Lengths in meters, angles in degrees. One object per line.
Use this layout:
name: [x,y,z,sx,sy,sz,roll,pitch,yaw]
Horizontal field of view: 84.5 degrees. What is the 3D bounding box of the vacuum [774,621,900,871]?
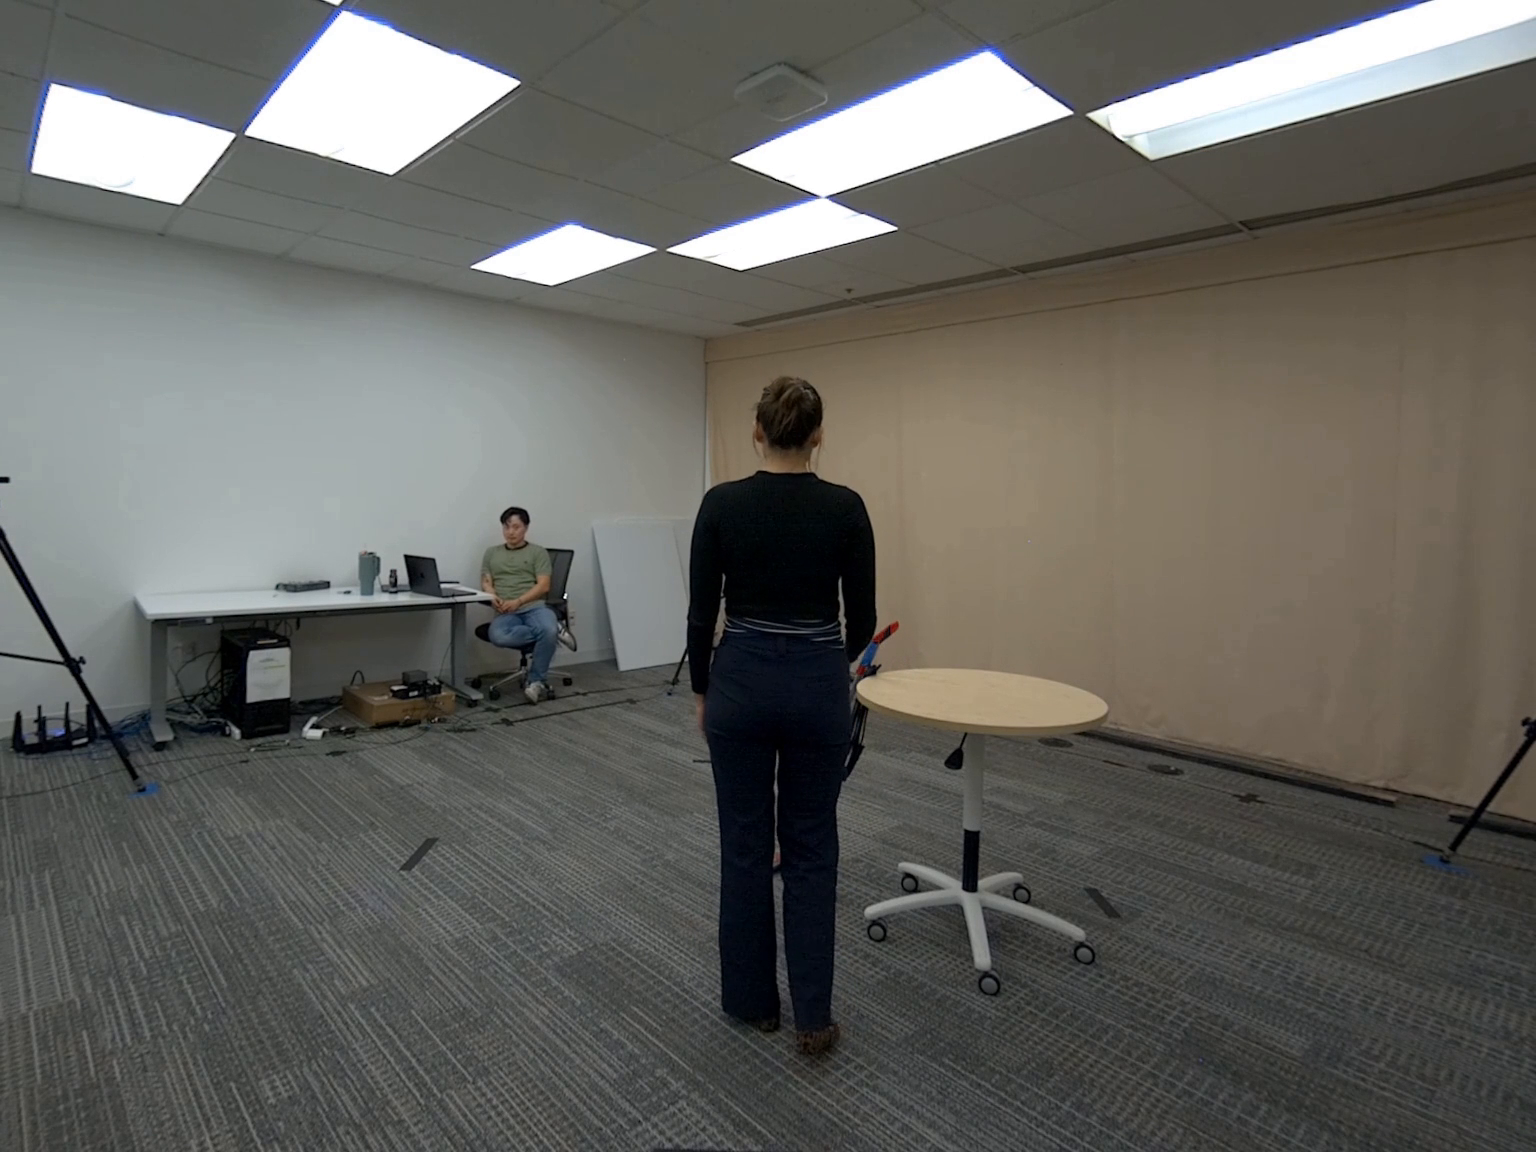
vacuum: [0.250,0.637,3.032,0.148,1.041,0.247,33,22,36]
